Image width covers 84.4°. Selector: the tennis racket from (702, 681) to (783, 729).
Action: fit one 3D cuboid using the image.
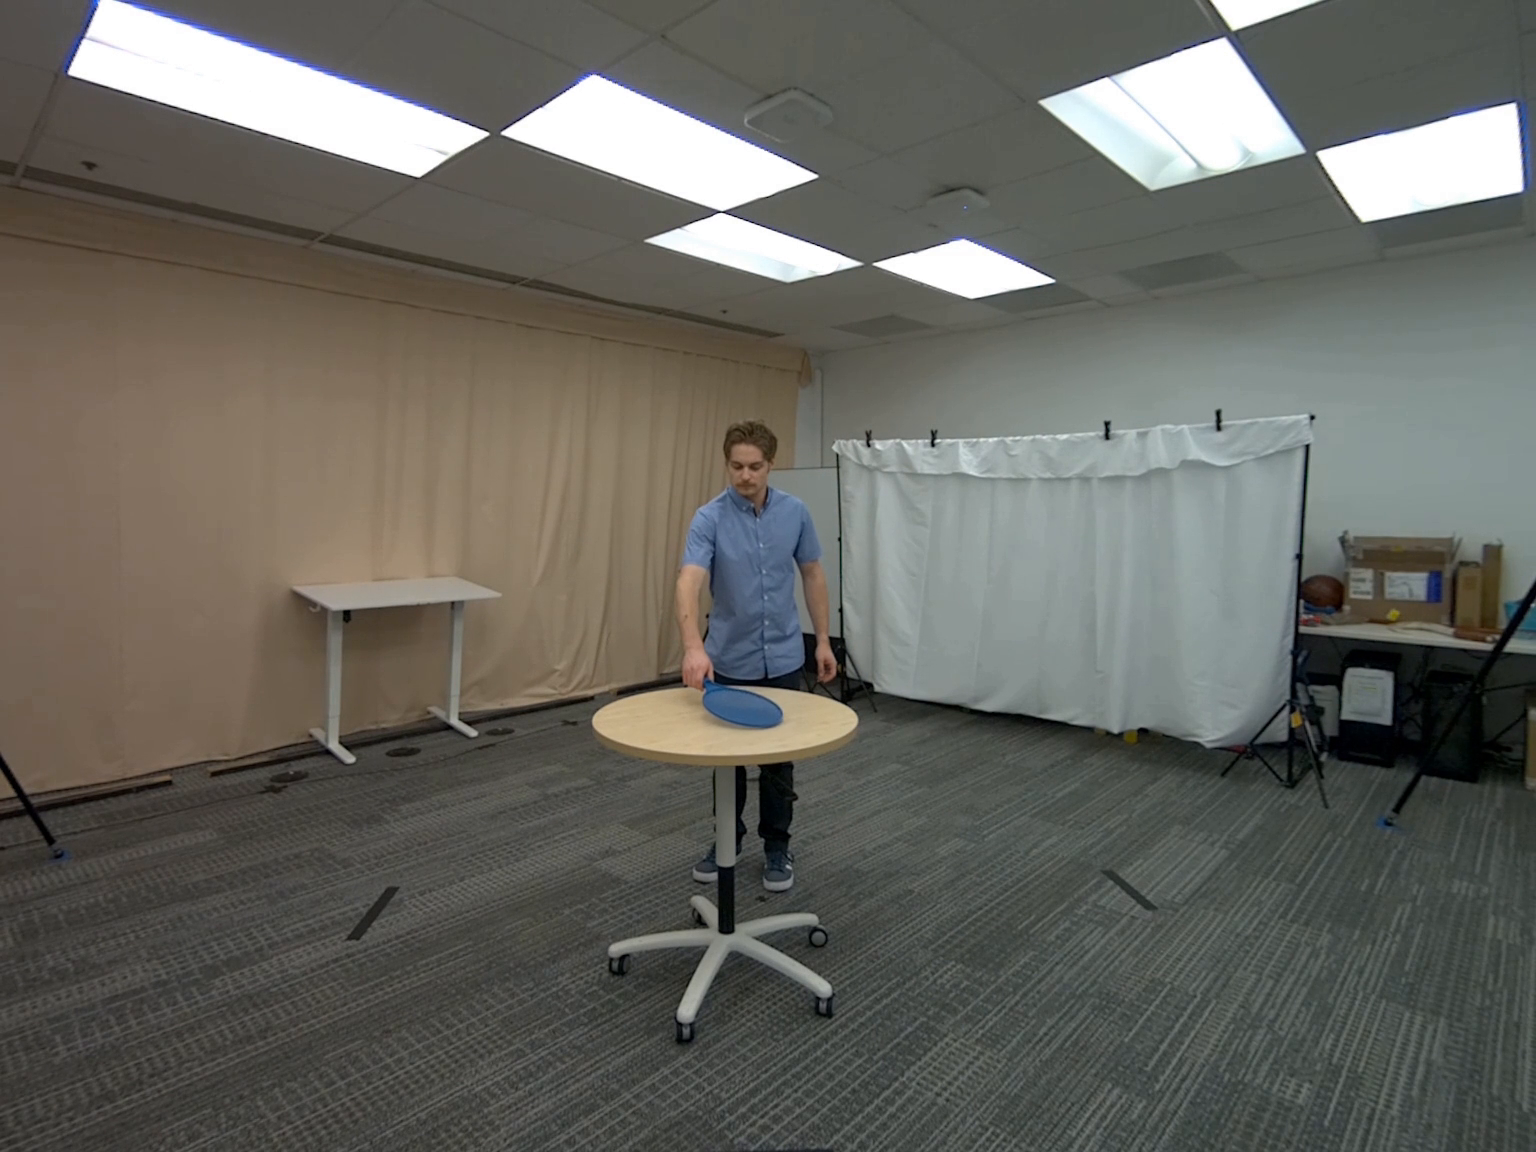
[{"bbox_3d":[-0.099,0.355,2.474,0.208,0.031,0.448,-2,15,-32],"label":"tennis racket"}]
